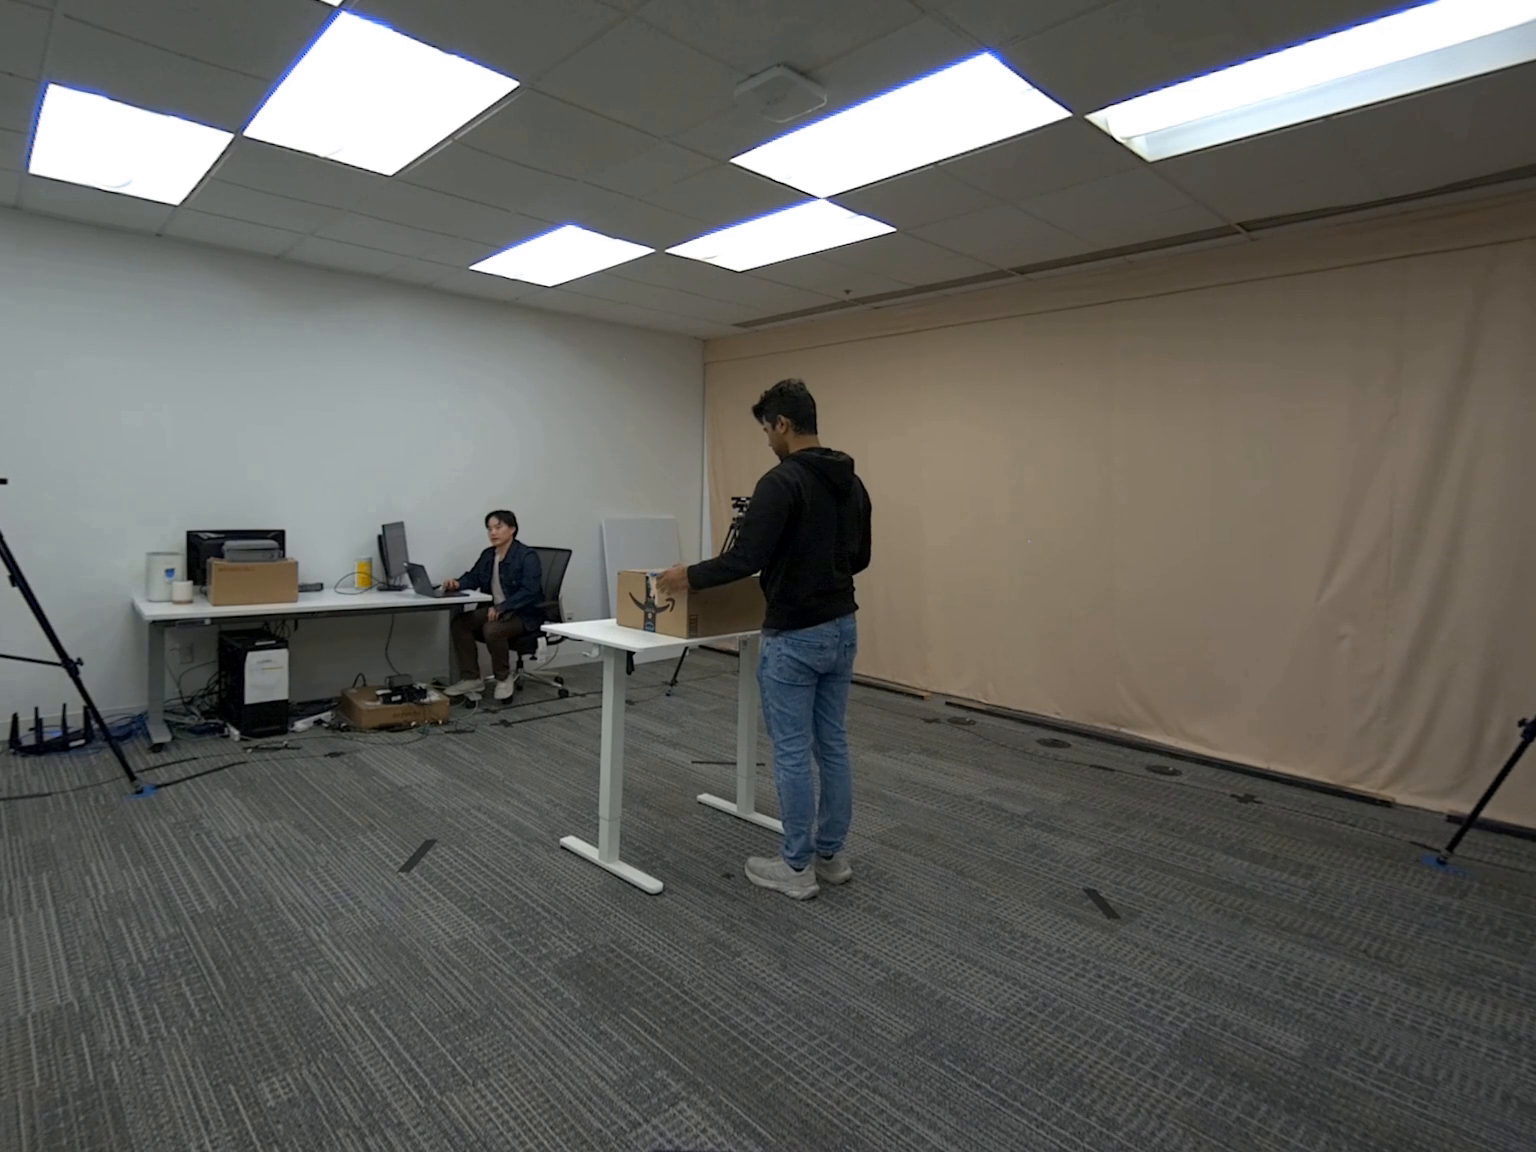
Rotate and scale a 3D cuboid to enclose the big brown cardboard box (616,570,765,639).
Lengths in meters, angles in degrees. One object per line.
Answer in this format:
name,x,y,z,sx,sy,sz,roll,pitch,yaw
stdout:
big brown cardboard box,-0.254,0.090,3.363,0.428,0.232,0.576,6,7,43
